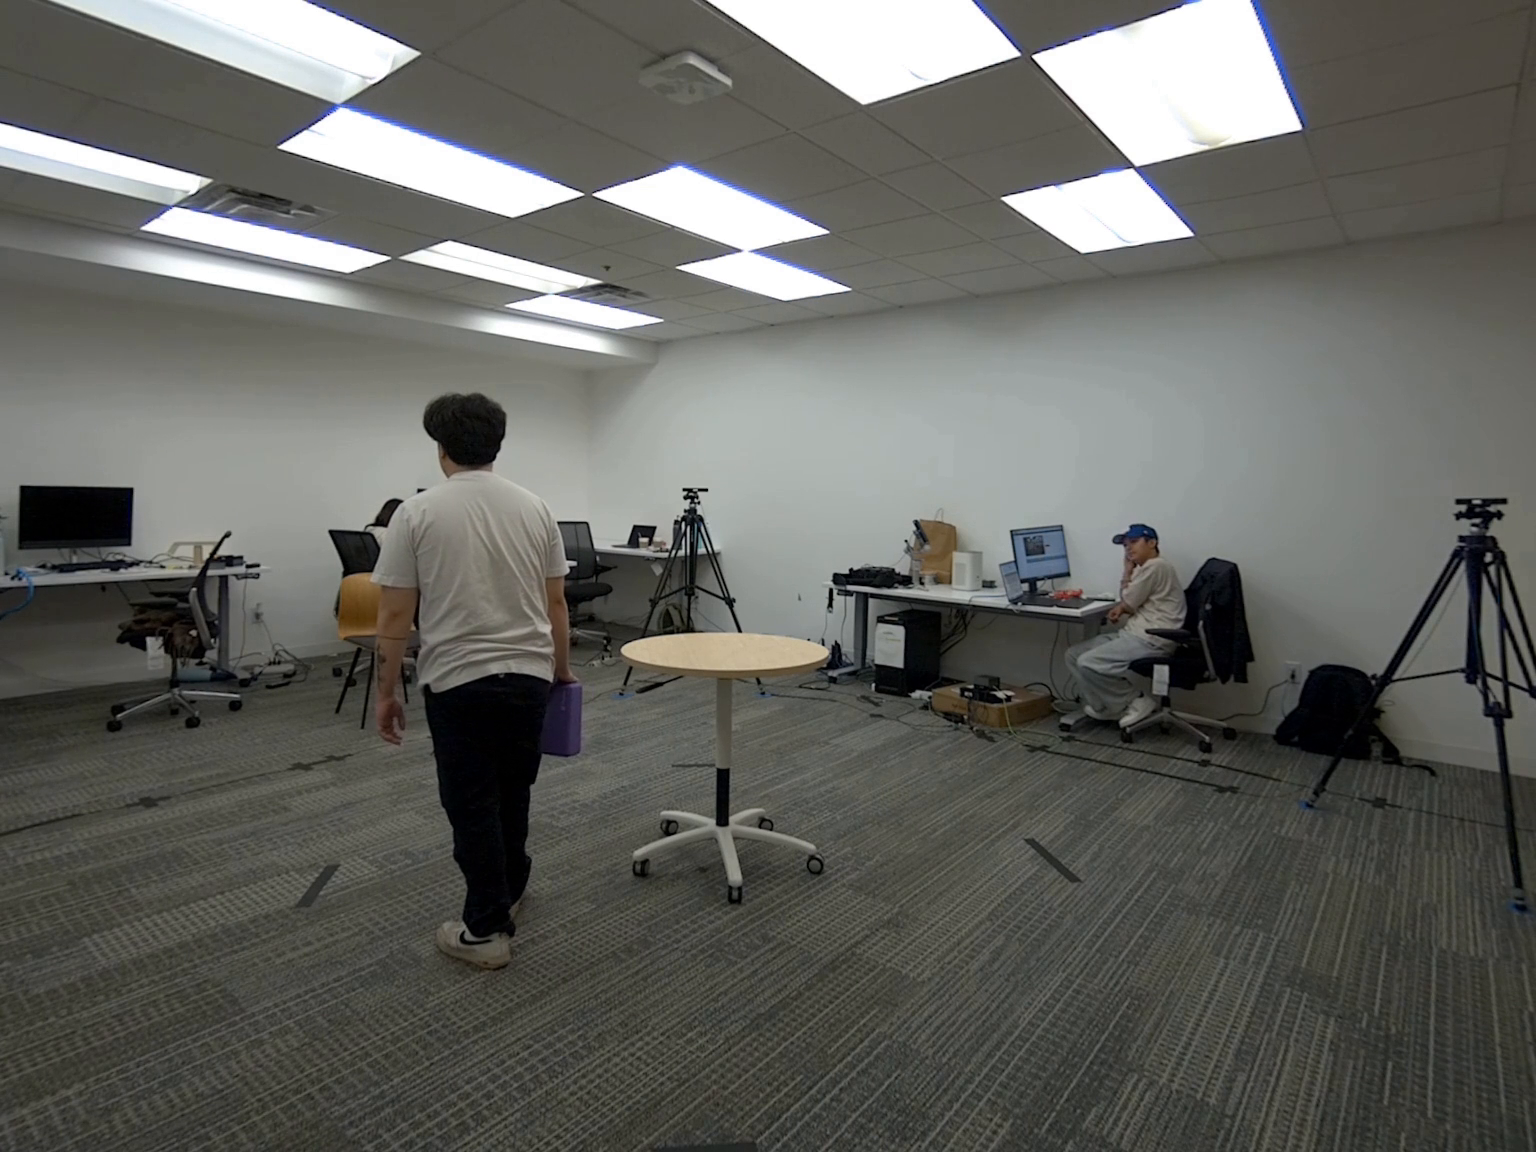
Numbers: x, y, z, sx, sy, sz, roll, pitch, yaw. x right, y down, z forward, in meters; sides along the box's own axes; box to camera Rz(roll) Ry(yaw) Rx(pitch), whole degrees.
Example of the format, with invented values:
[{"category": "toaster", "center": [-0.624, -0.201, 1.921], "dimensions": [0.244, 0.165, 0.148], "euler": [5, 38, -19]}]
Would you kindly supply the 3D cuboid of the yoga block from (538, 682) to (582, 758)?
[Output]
[{"category": "yoga block", "center": [-0.699, 0.461, 2.762], "dimensions": [0.153, 0.230, 0.074], "euler": [-1, -2, 25]}]
